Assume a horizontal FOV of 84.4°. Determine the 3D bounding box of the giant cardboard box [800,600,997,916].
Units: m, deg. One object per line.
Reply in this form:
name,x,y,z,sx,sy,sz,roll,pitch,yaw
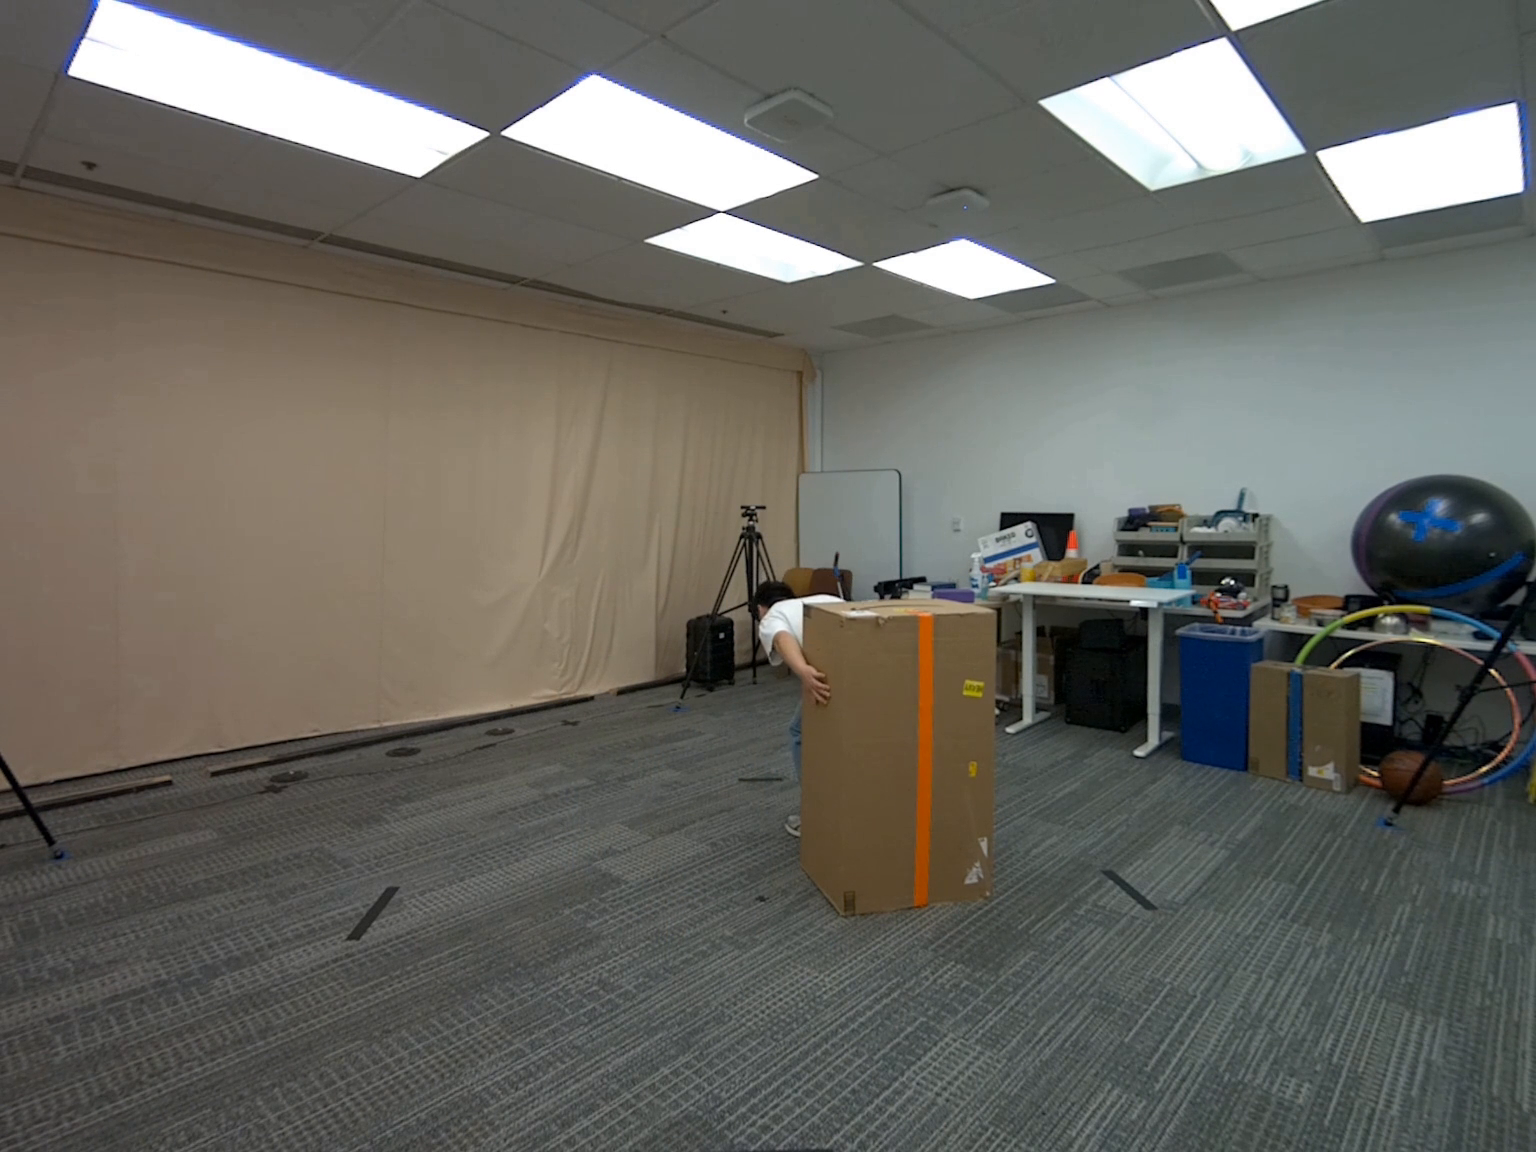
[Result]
giant cardboard box,0.466,0.622,3.091,0.568,1.023,0.434,-1,4,-17
